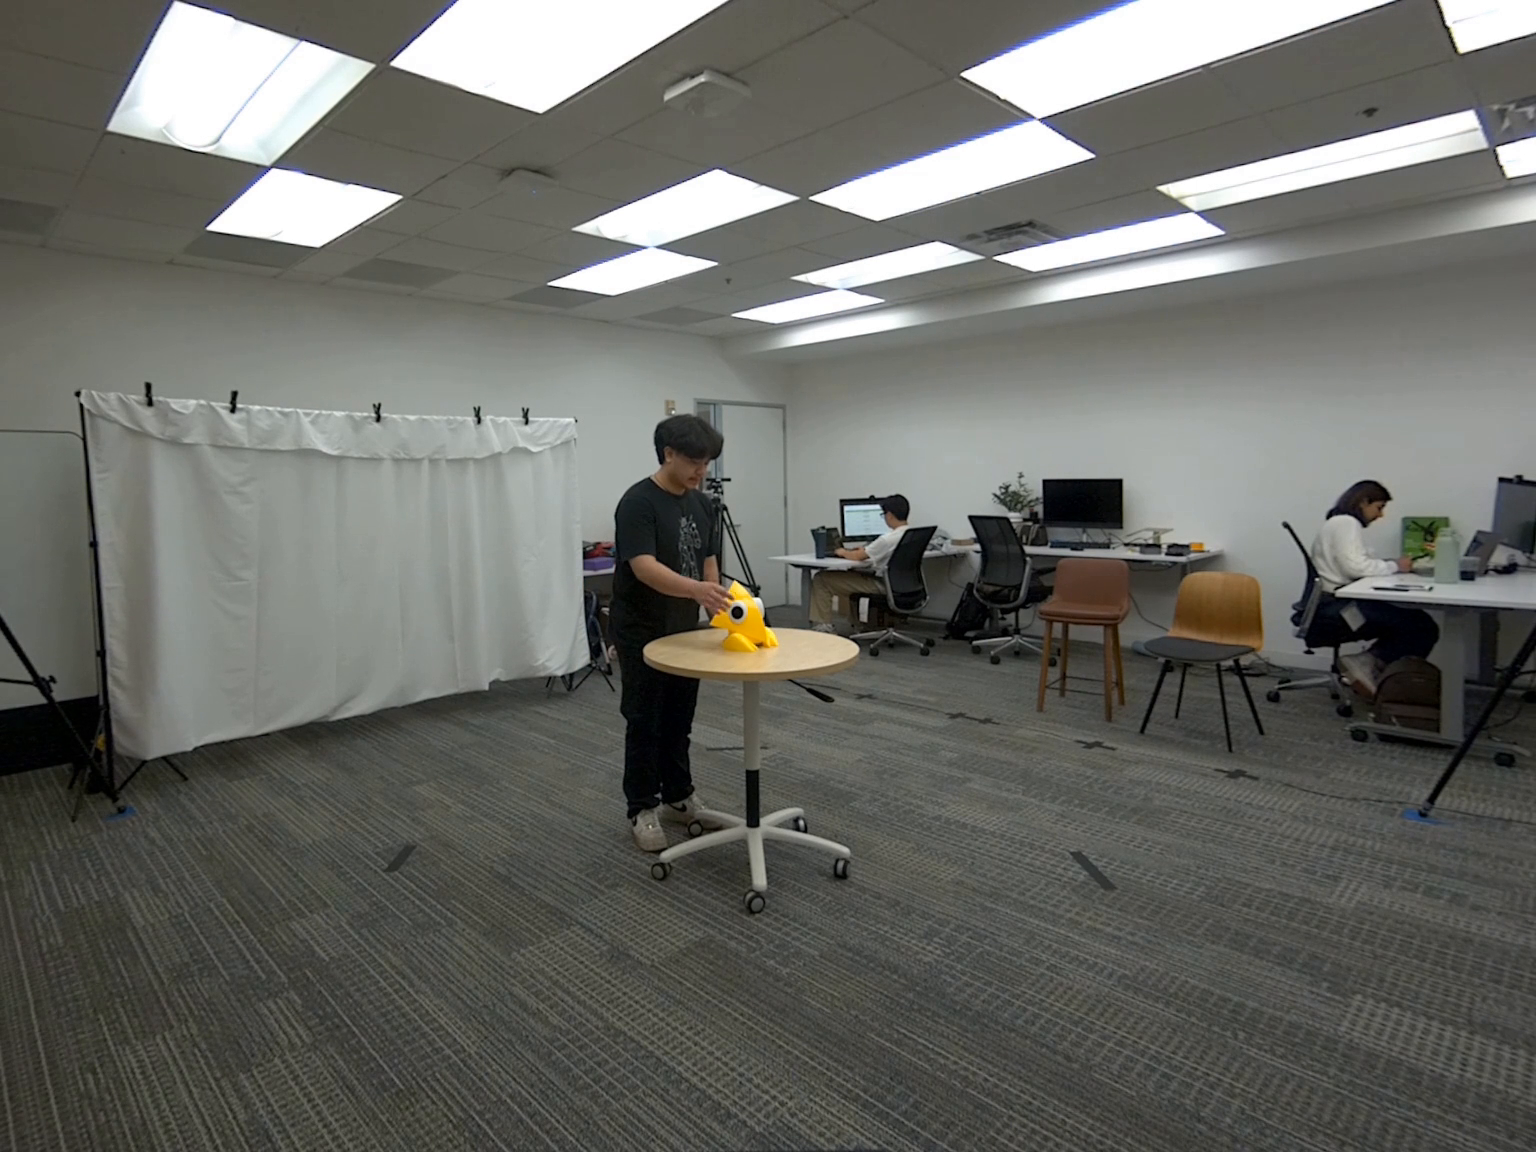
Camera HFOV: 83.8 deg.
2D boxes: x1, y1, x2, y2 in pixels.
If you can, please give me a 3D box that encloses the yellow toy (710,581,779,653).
[{"bbox_3d":[-0.071,0.138,3.075,0.199,0.229,0.199,5,8,42],"label":"yellow toy"}]
